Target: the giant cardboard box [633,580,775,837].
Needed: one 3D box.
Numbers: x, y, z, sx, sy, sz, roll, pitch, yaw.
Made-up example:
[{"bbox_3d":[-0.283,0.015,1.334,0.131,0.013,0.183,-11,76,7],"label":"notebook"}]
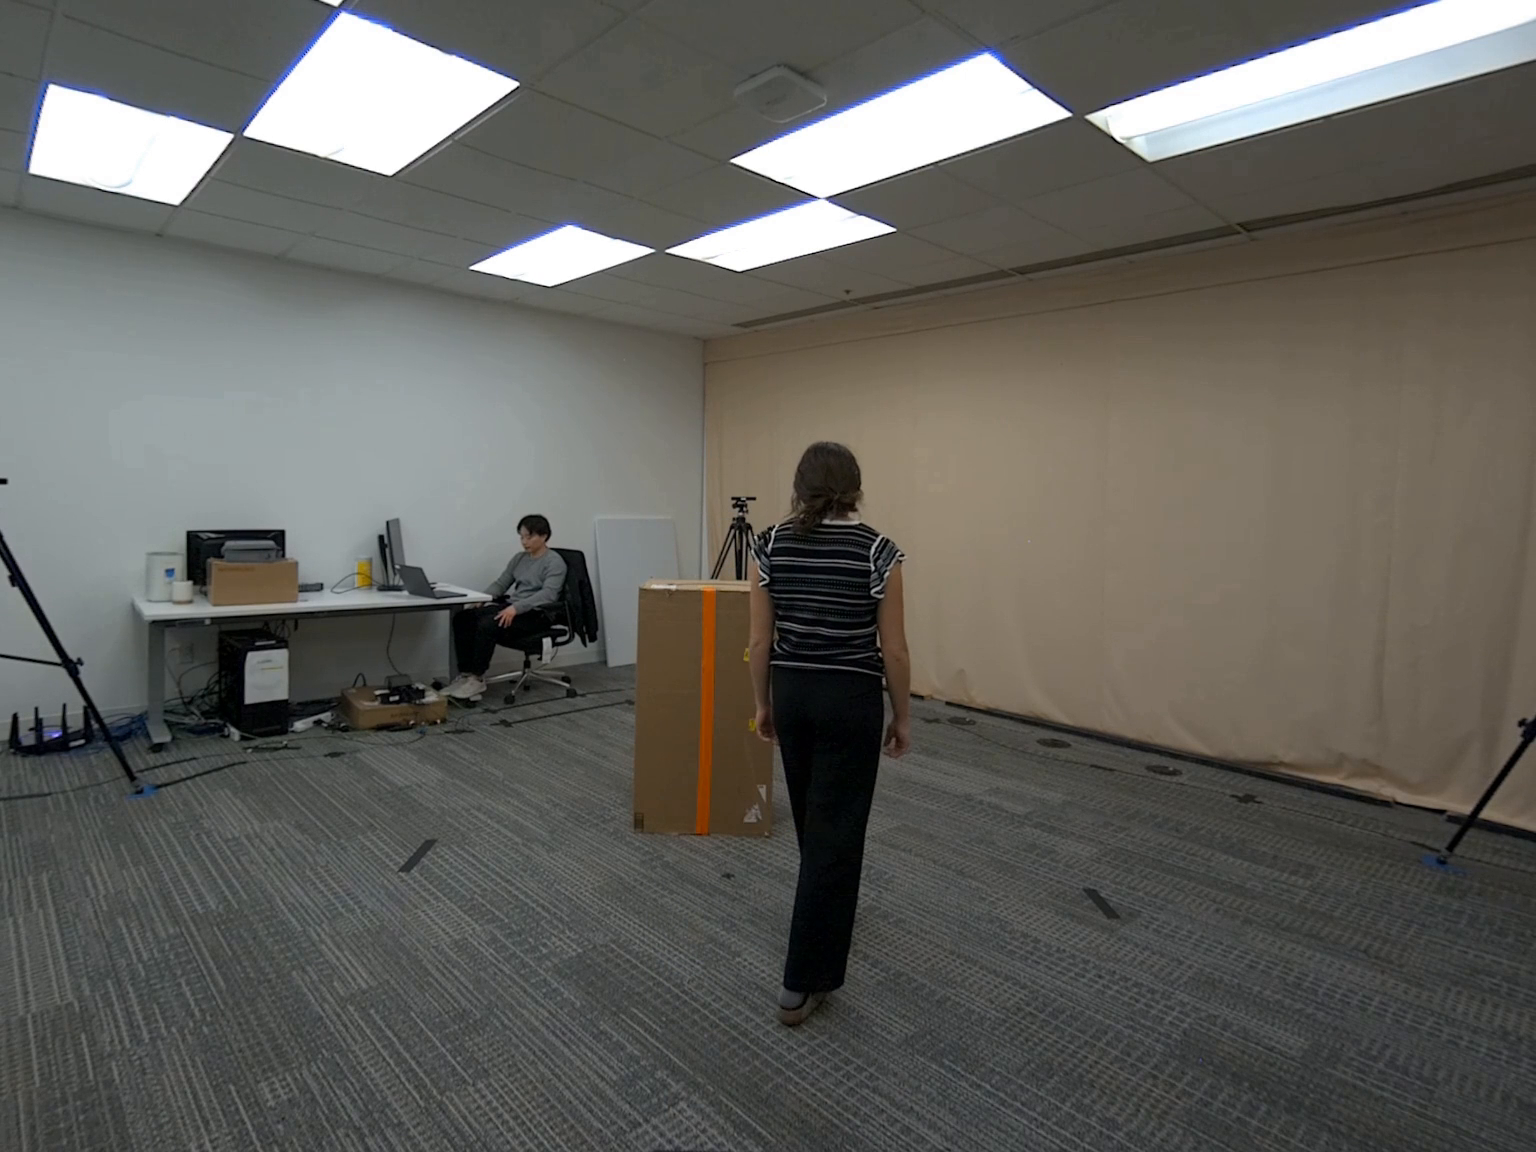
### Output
[{"bbox_3d":[-0.272,0.544,3.664,0.578,1.024,0.426,1,3,2],"label":"giant cardboard box"}]
